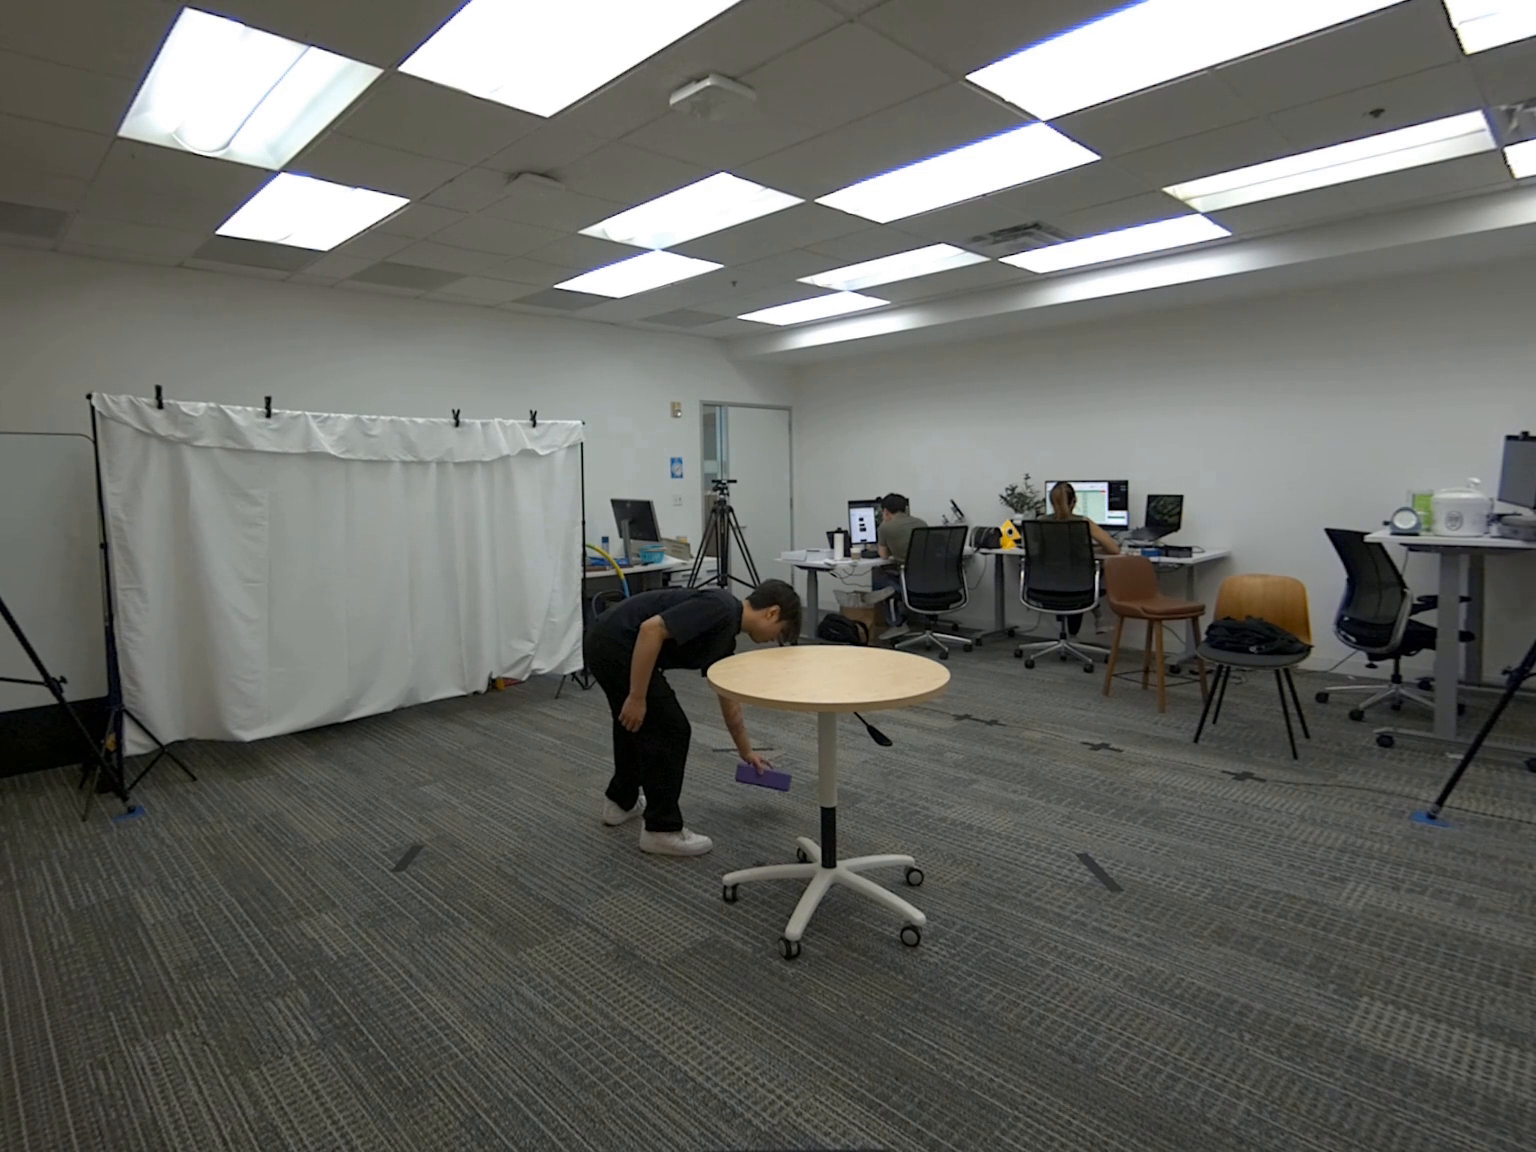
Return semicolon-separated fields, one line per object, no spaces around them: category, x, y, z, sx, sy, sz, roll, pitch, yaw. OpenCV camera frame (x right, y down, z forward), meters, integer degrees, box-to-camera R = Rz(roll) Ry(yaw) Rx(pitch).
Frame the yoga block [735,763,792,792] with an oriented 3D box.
yoga block;-0.020;0.844;3.583;0.231;0.077;0.147;9;-10;5
